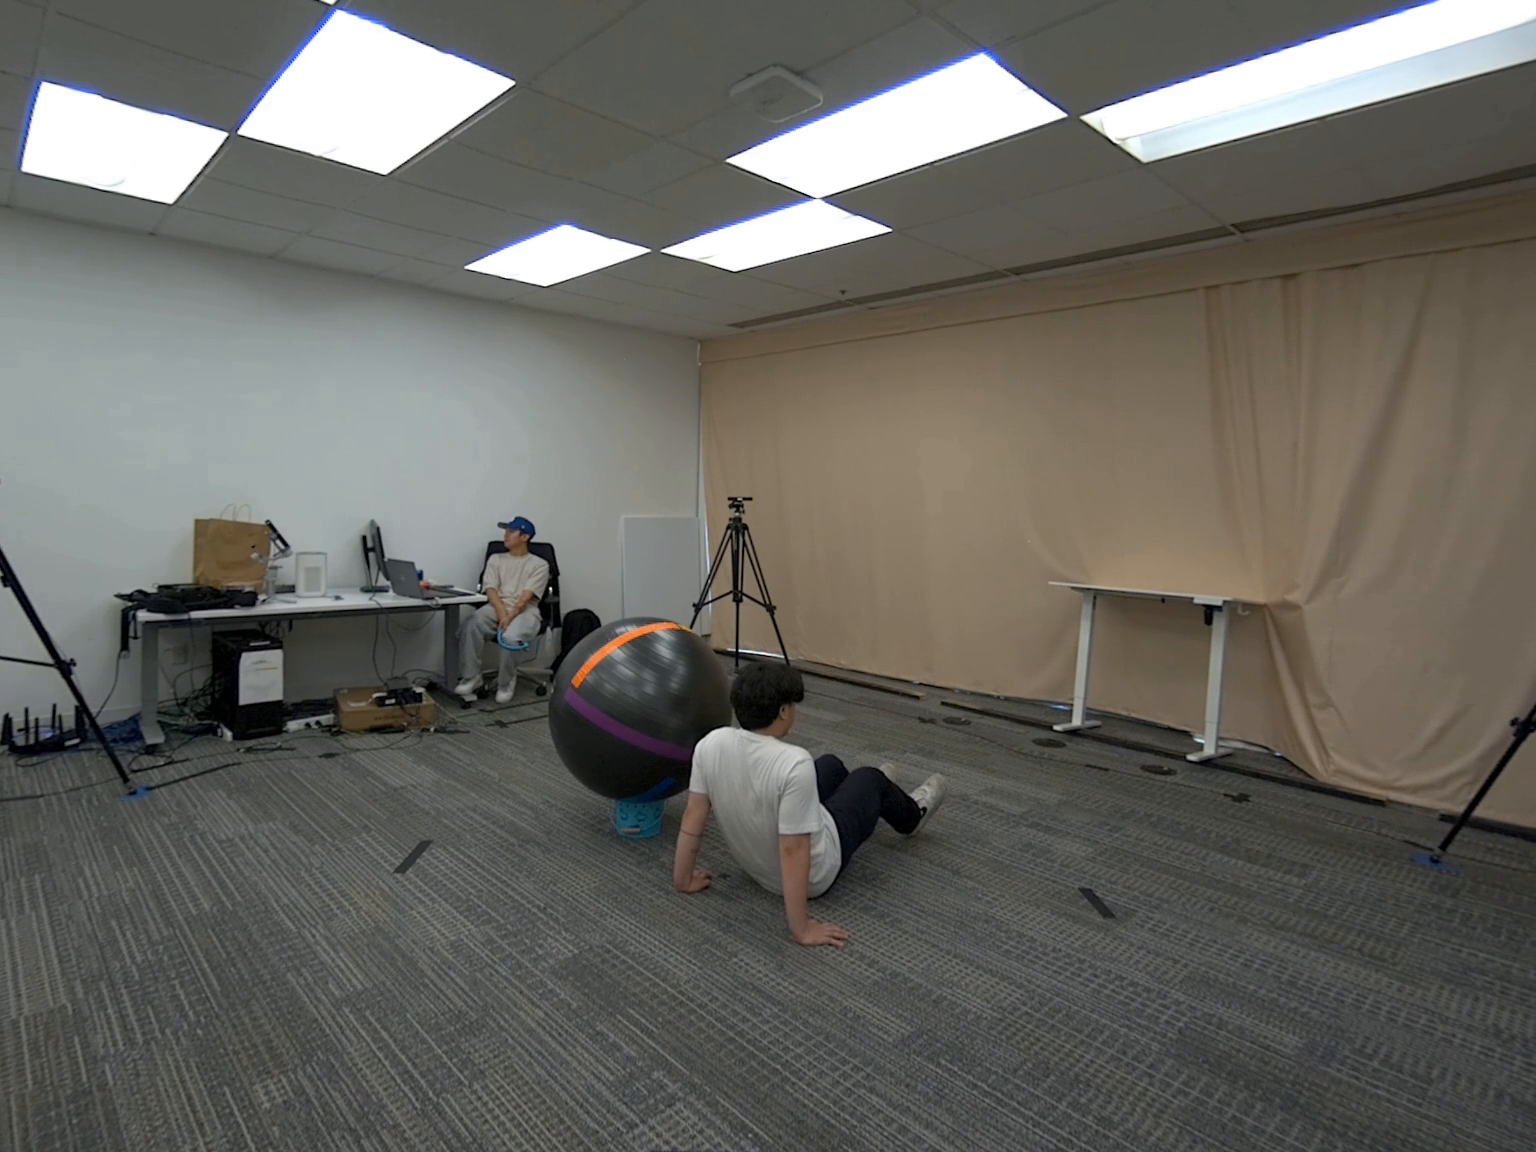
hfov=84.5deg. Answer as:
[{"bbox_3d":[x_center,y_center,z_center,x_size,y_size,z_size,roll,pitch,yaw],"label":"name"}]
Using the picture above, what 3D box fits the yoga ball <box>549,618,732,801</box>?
[{"bbox_3d":[-0.534,0.551,3.516,0.757,0.756,0.761,1,4,-1],"label":"yoga ball"}]
